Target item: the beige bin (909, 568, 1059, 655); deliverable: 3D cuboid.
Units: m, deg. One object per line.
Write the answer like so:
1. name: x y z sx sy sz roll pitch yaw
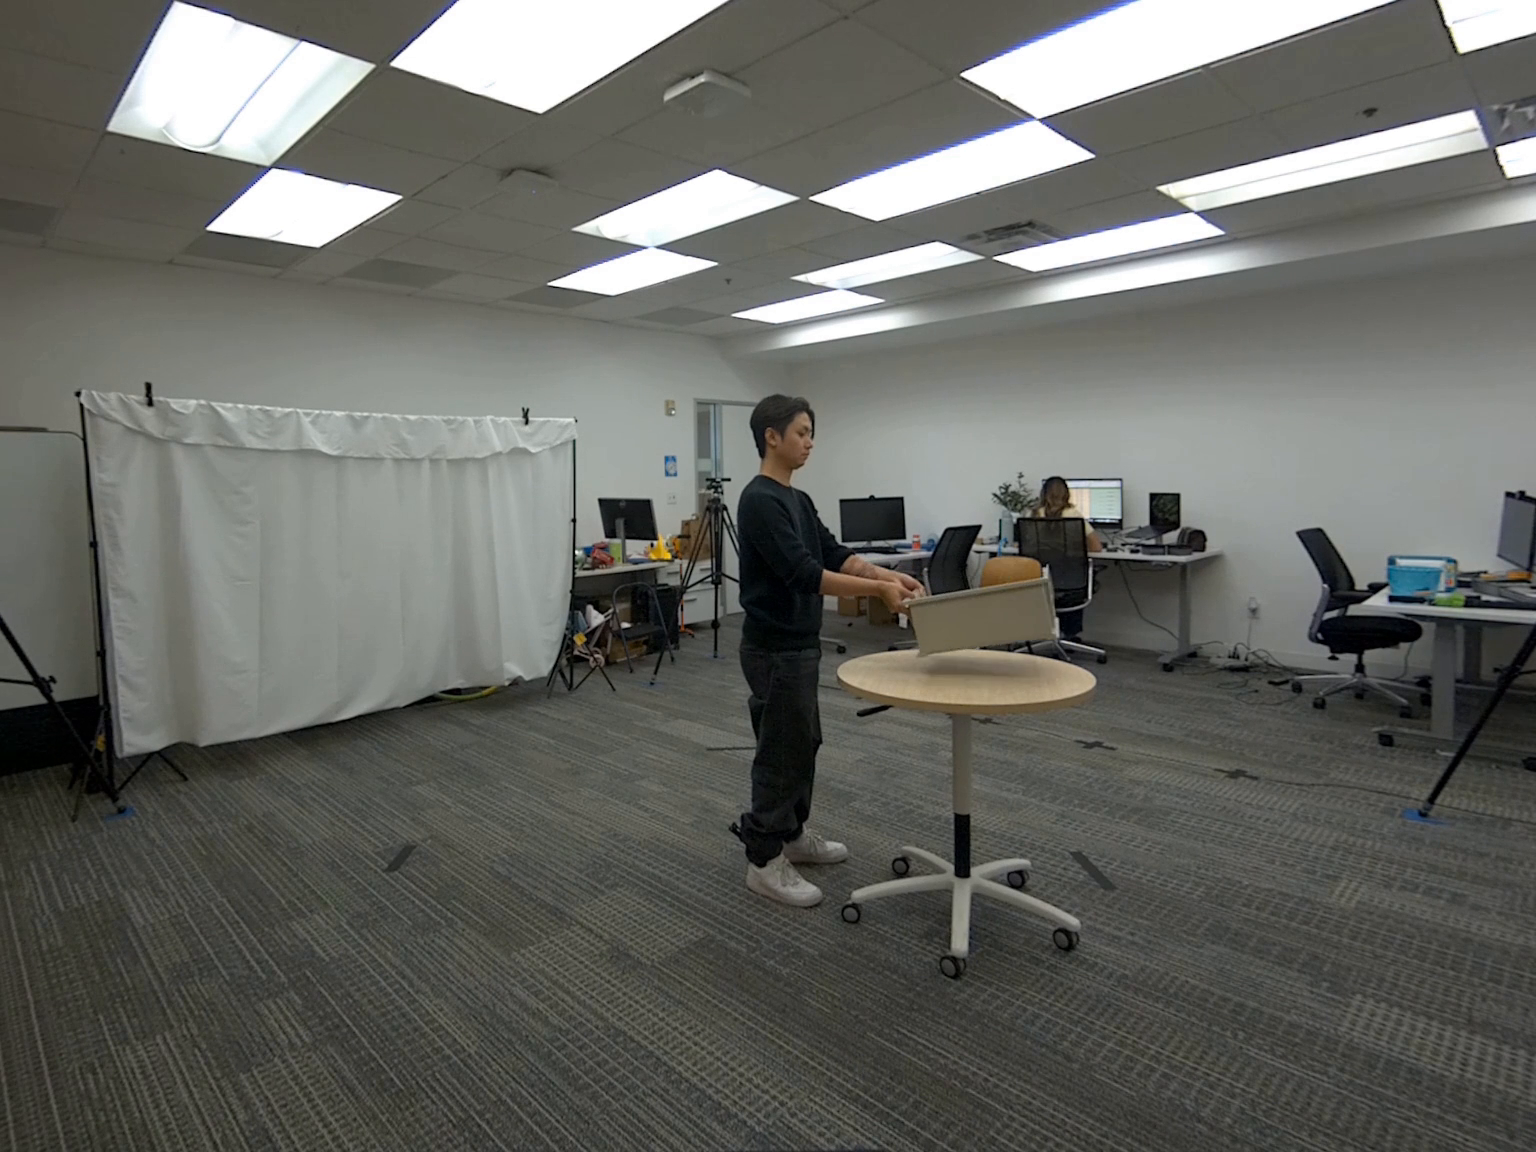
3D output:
1. beige bin: 0.680 0.106 2.677 0.429 0.188 0.373 -11 4 20
